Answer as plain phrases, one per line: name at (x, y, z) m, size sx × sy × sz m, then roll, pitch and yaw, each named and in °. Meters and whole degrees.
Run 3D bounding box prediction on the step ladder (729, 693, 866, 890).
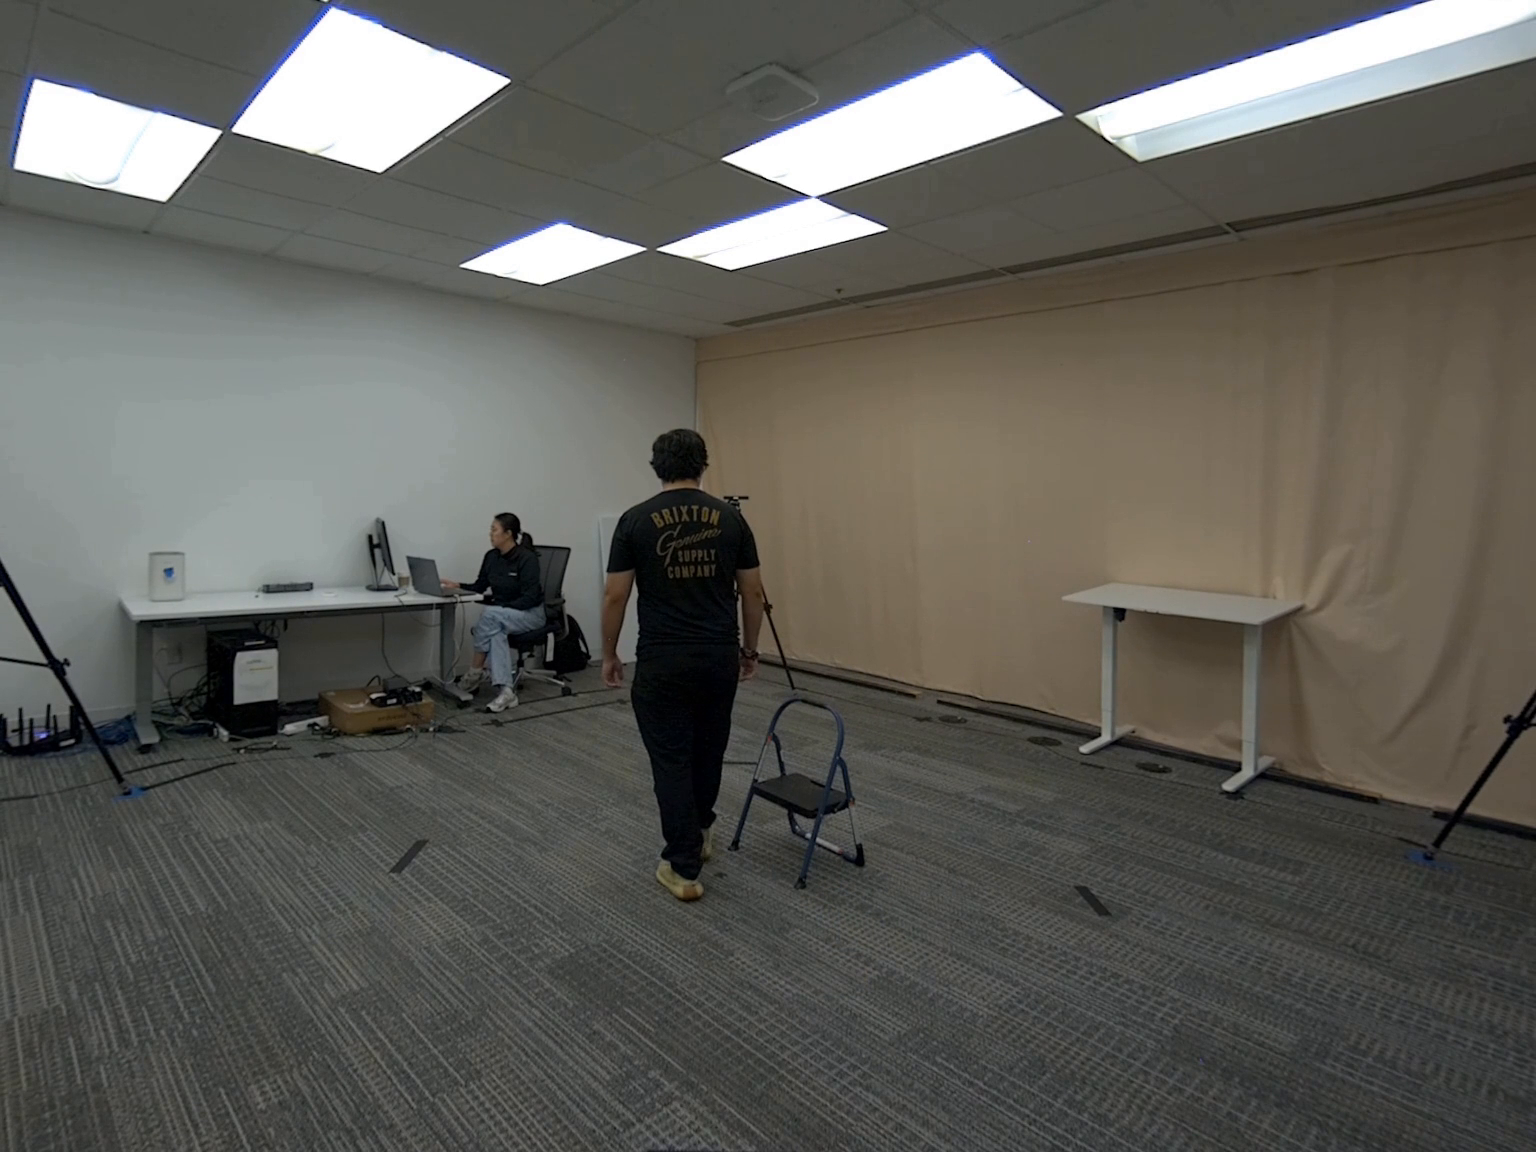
step ladder at (0.113, 0.793, 3.255) m, size 0.341 × 0.604 × 0.441 m, roll -2°, pitch 5°, yaw -38°
